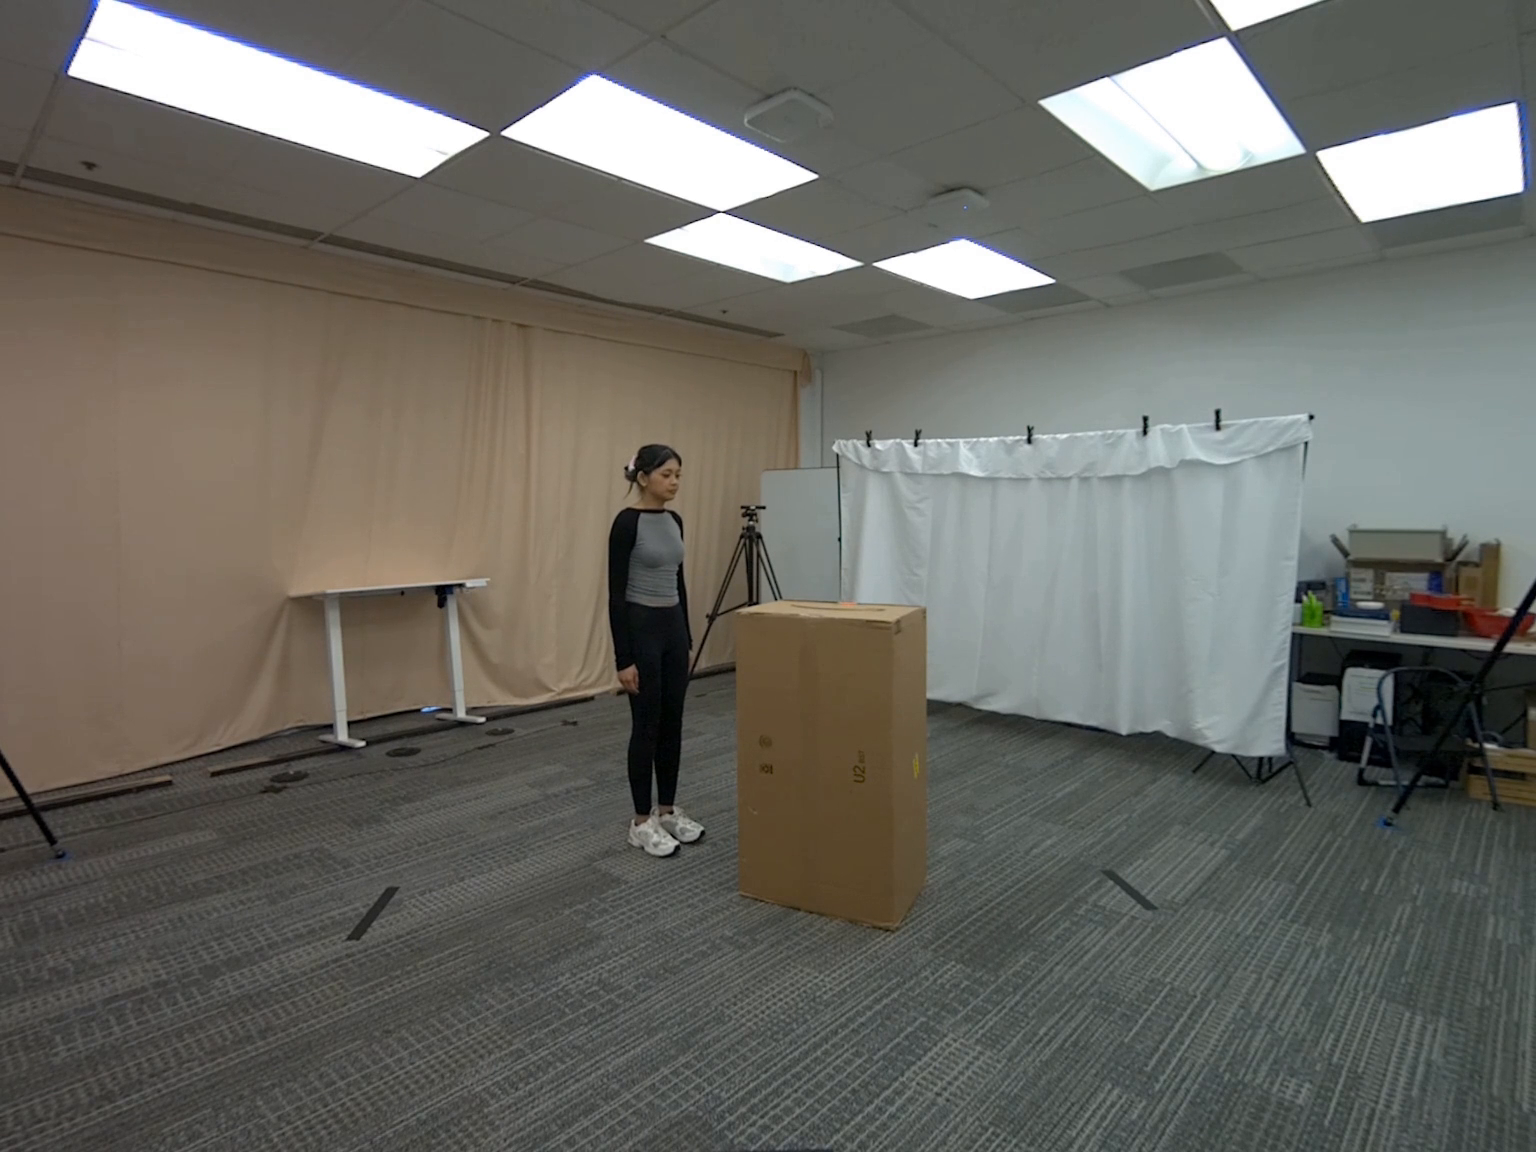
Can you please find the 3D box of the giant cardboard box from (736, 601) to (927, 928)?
[{"bbox_3d":[0.241,0.632,3.042,0.599,1.024,0.436,1,4,26],"label":"giant cardboard box"}]
